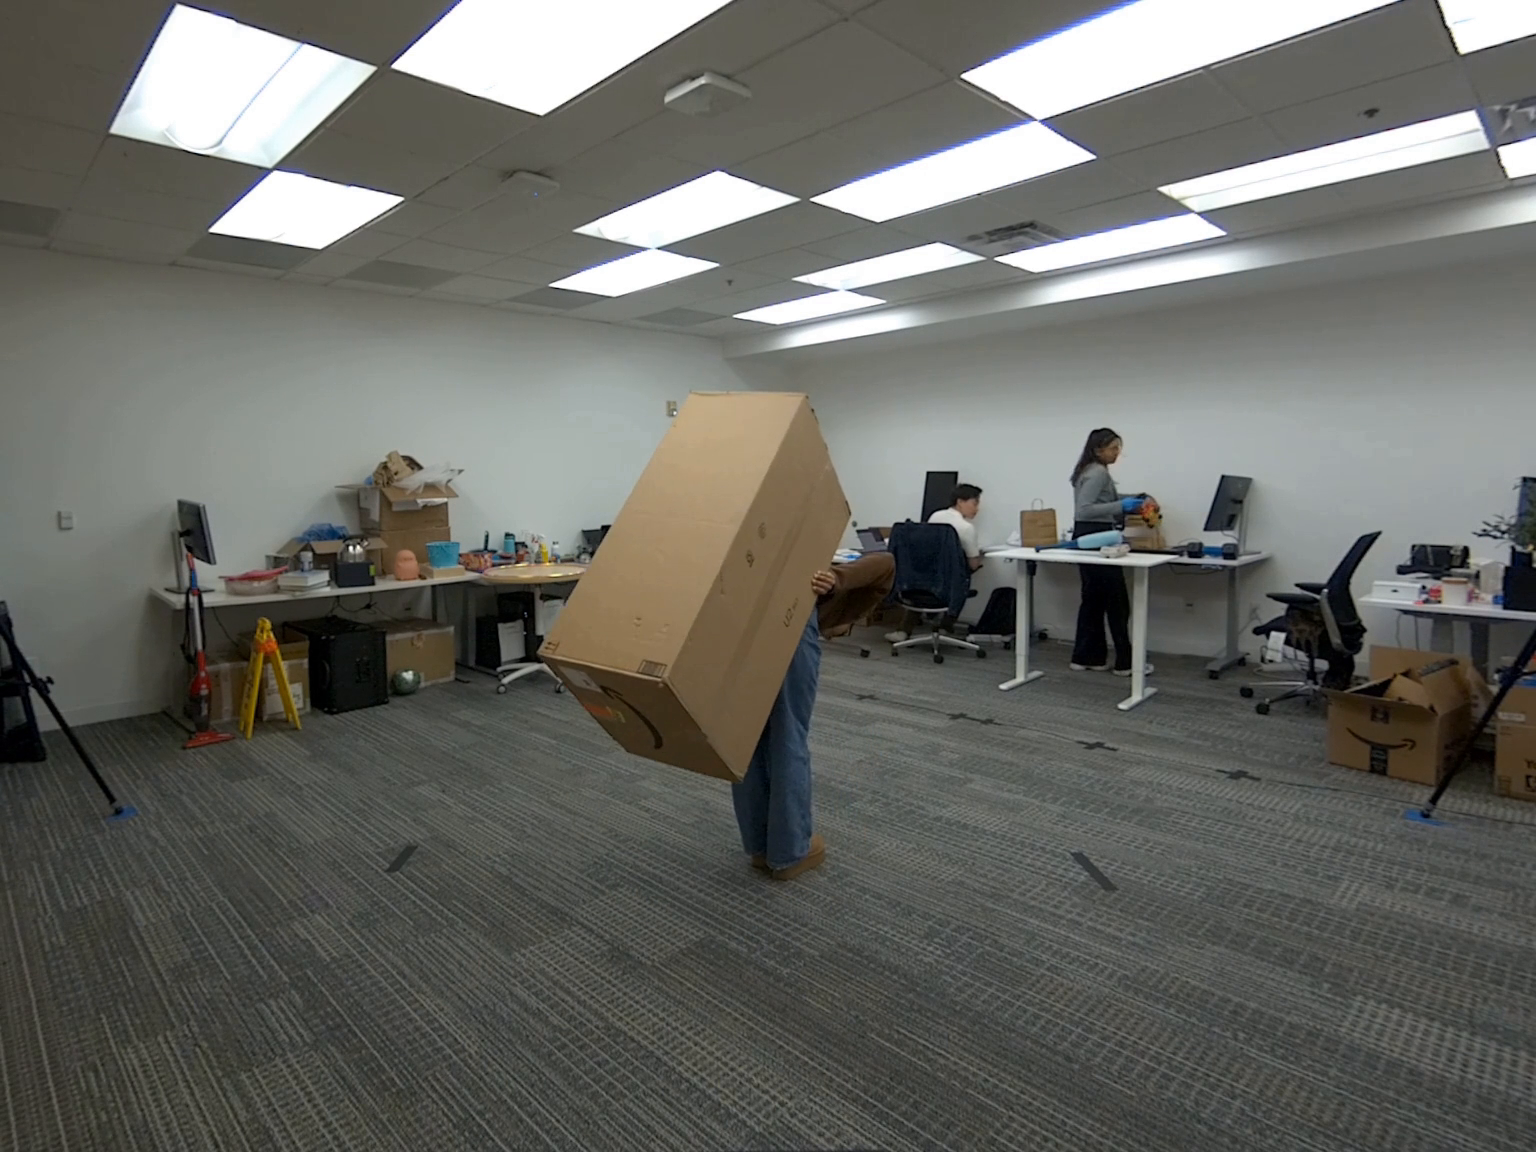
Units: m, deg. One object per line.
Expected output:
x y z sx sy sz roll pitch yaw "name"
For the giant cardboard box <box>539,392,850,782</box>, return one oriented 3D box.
-0.165 0.004 2.627 0.459 1.037 0.562 7 -35 29 "giant cardboard box"
